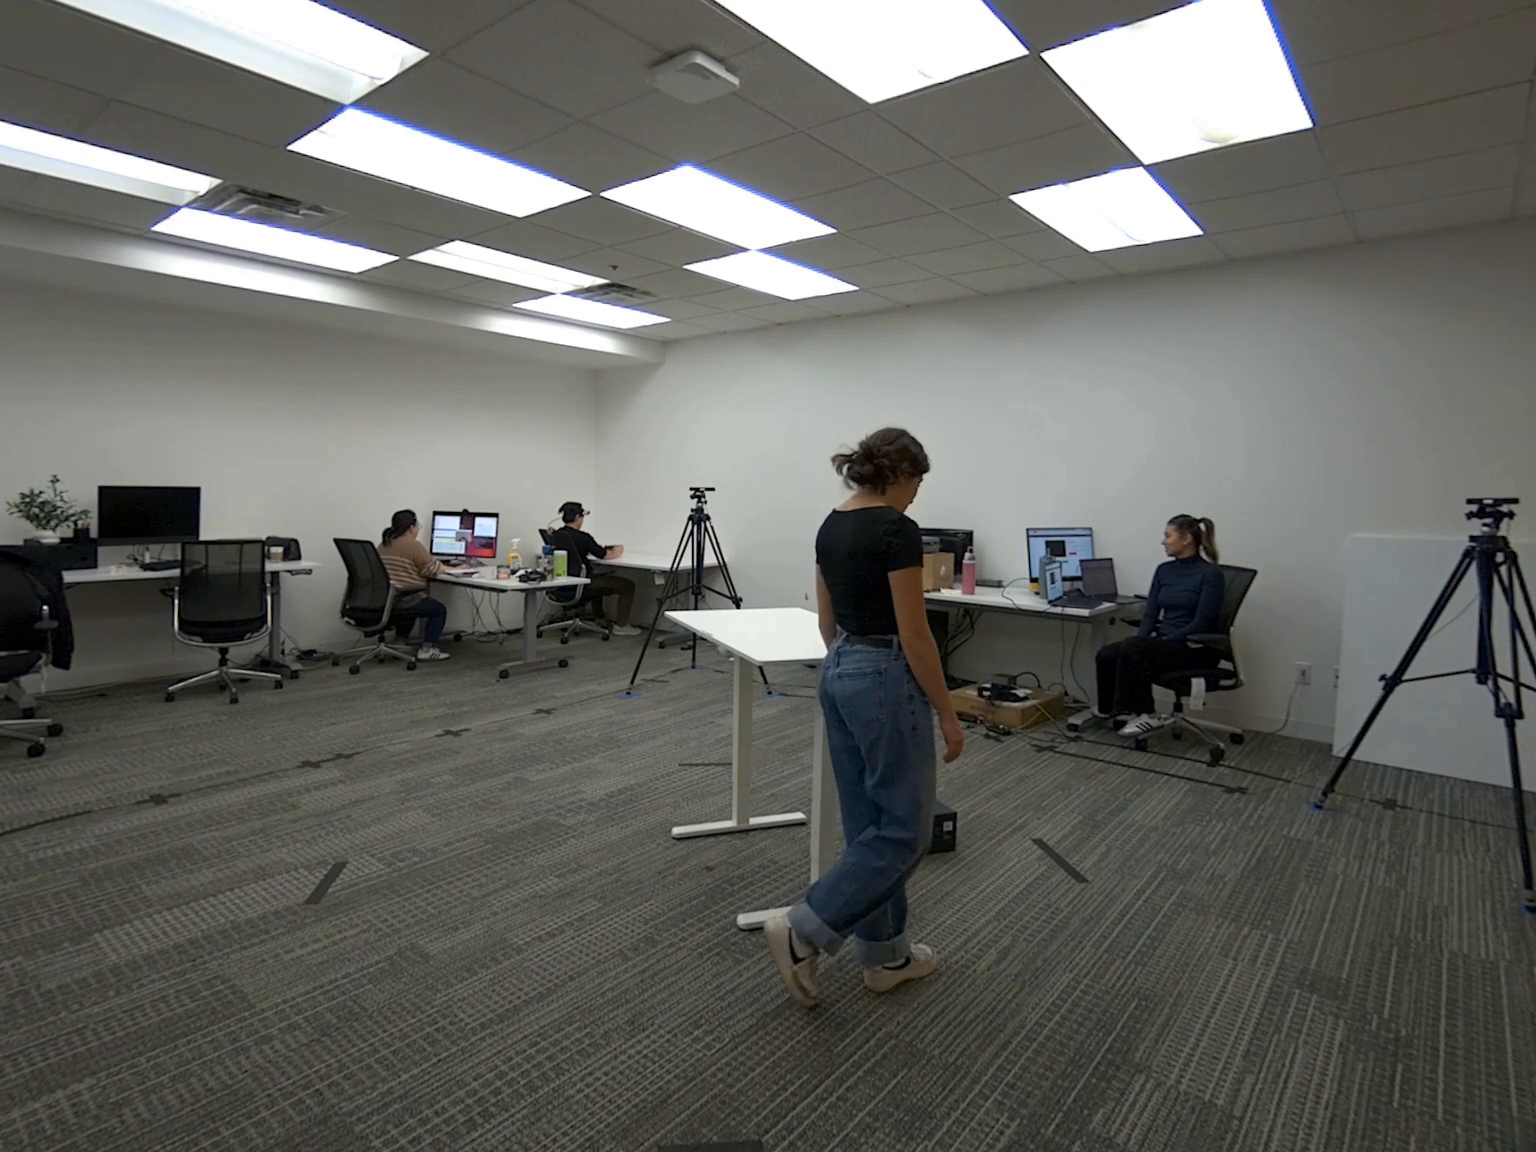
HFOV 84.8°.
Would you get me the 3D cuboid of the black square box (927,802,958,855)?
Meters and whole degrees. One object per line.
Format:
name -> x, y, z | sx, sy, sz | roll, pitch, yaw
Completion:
black square box -> 0.585, 0.972, 3.376 | 0.212, 0.155, 0.233 | -1, 5, -22
